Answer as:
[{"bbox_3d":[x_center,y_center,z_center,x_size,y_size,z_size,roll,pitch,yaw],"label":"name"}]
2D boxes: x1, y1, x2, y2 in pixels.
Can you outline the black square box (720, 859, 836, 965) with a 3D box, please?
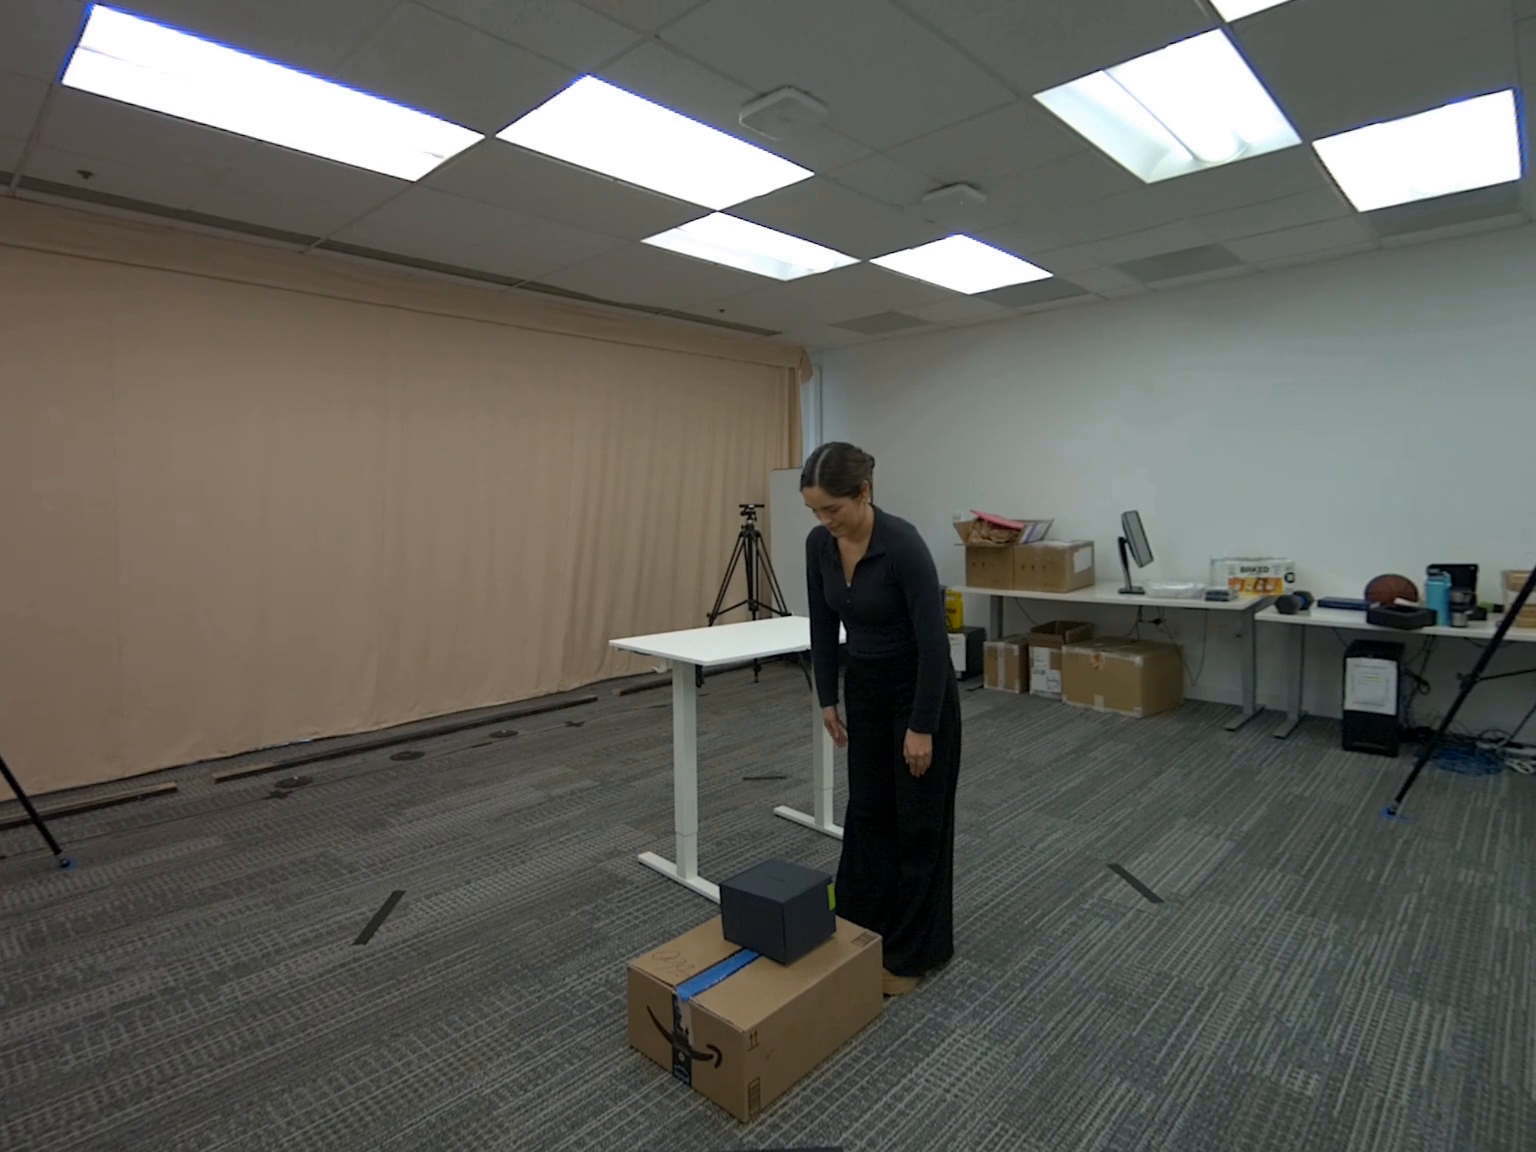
[{"bbox_3d":[0.033,0.894,2.276,0.235,0.156,0.210,-3,3,43],"label":"black square box"}]
